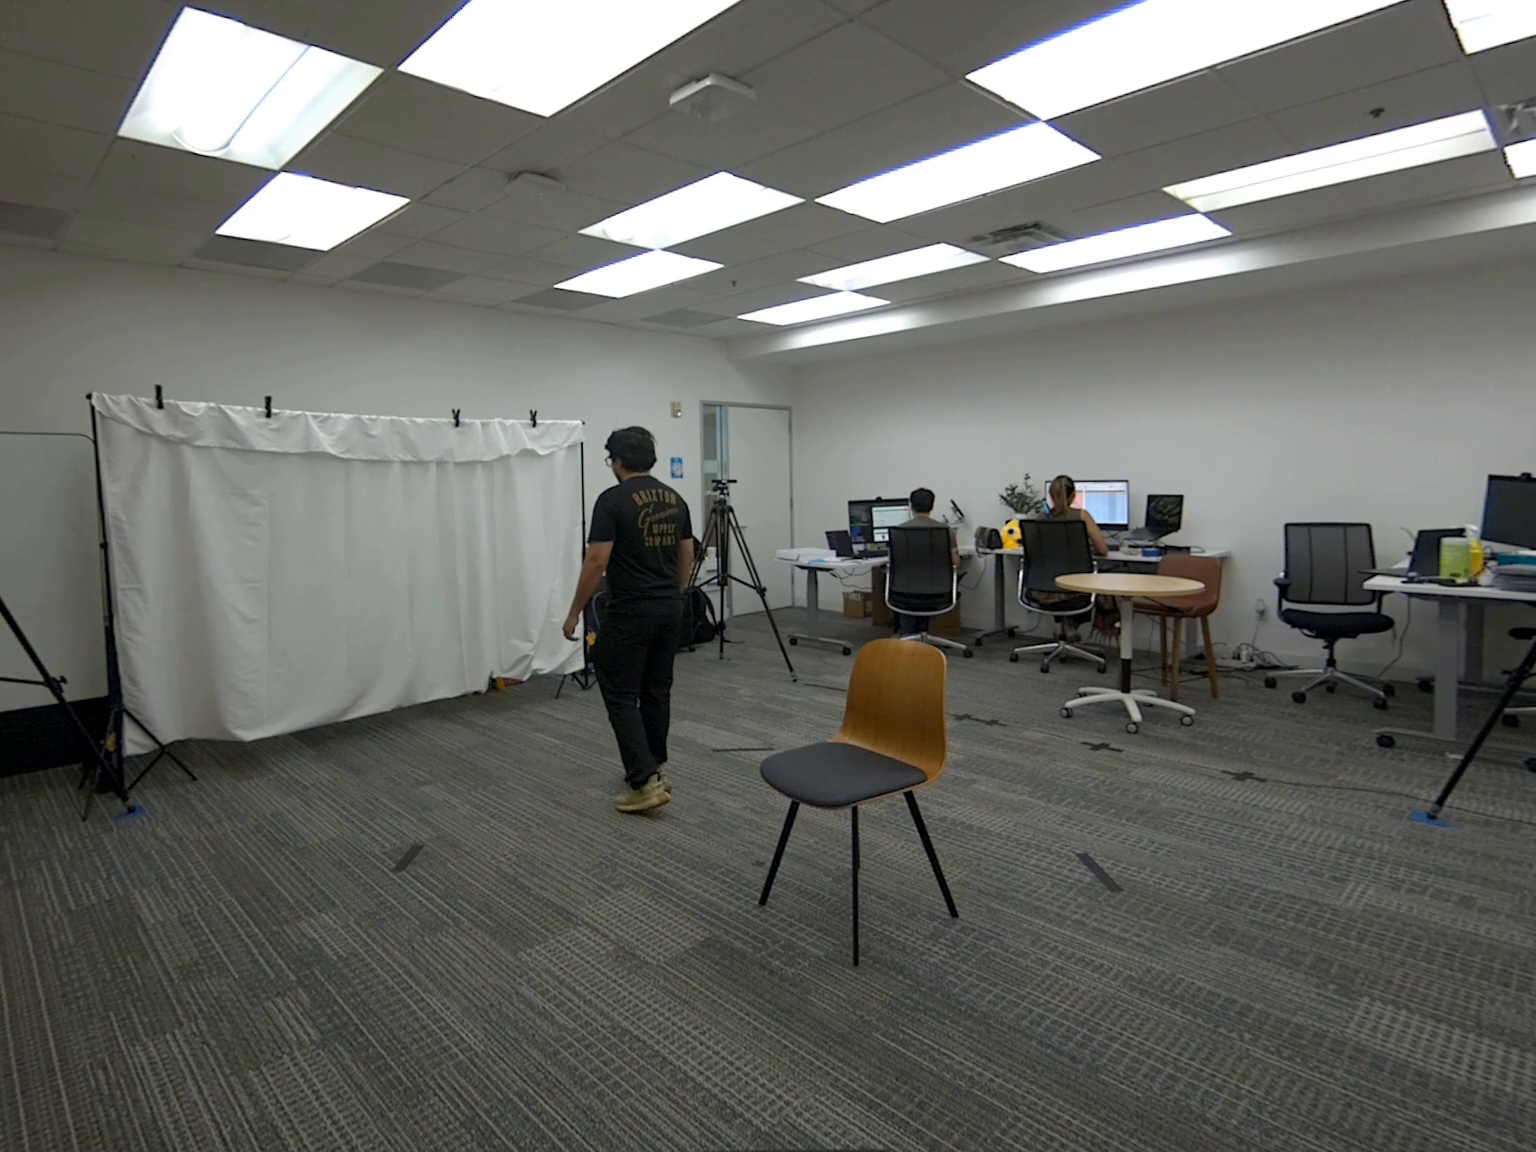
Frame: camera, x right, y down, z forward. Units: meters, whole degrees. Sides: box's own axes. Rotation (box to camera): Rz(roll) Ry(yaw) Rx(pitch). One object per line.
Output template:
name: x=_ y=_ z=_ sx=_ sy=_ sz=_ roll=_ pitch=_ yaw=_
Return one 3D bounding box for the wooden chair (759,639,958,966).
wooden chair: x=0.279 y=0.660 z=2.716 sx=0.508 sy=0.876 sz=0.492 roll=1 pitch=2 yaw=-38
